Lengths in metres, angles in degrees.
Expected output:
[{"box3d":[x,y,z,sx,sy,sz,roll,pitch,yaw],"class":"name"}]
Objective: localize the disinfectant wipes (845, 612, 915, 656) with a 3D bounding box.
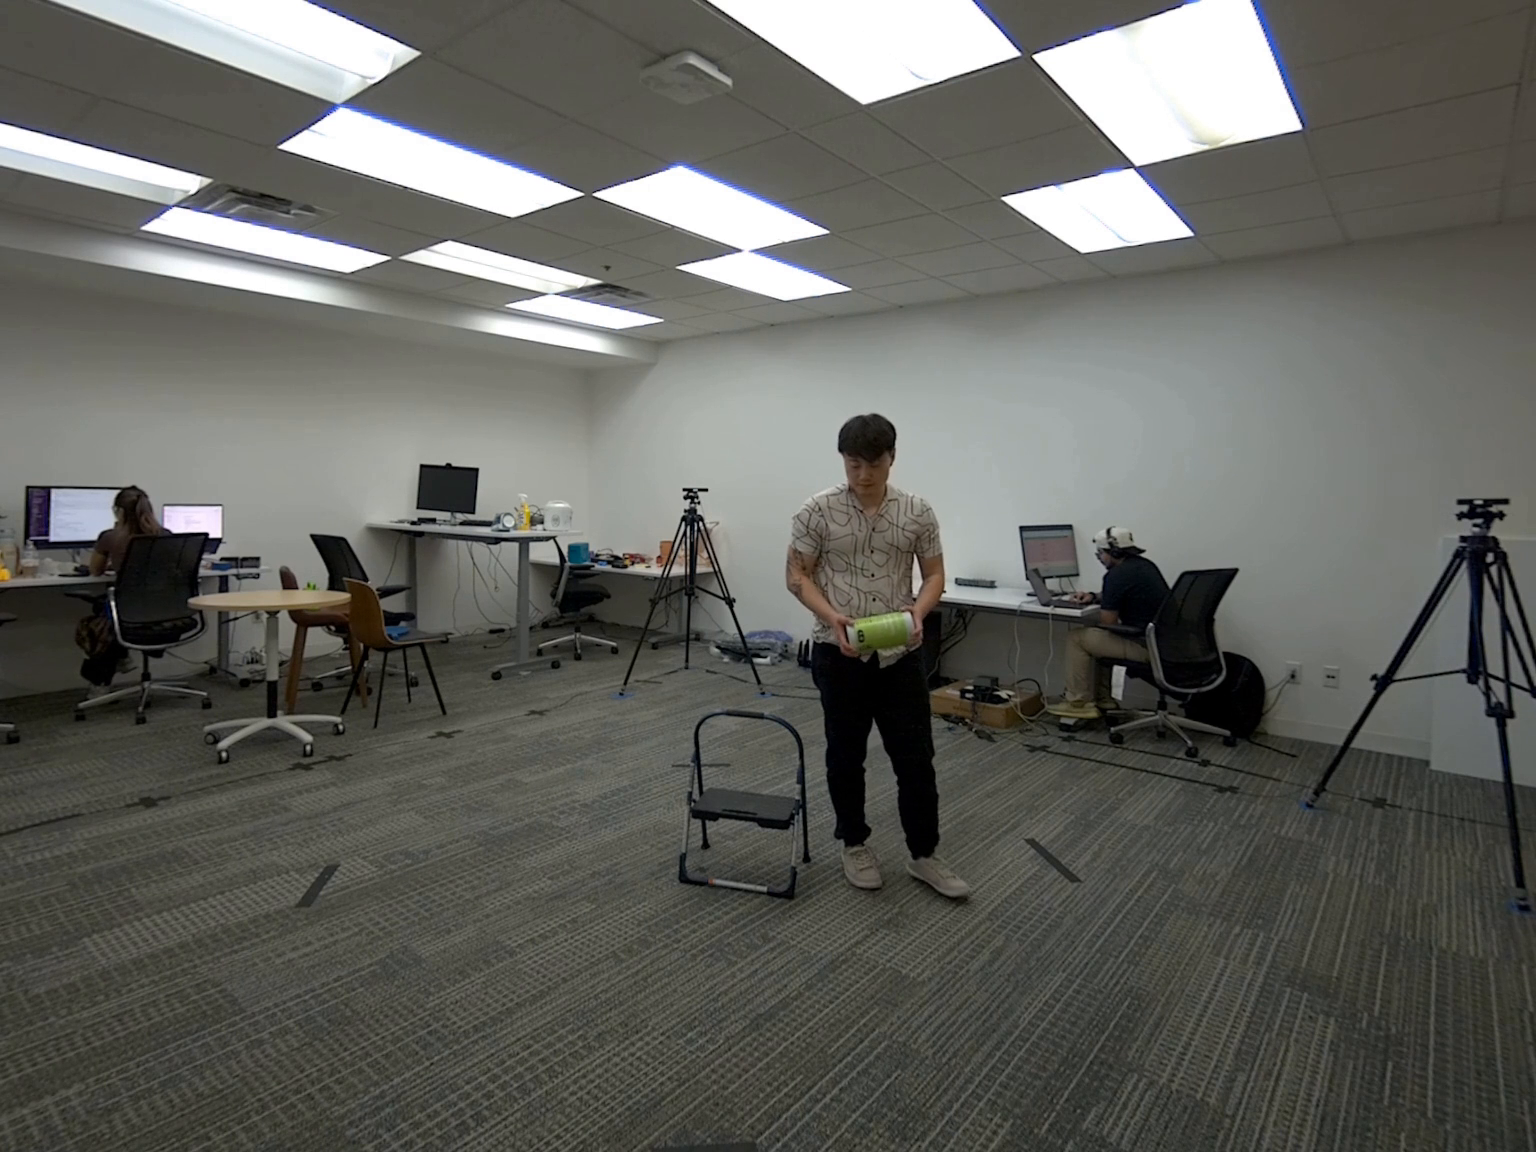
[{"box3d":[0.366,0.180,2.797,0.218,0.117,0.118,-12,4,1],"class":"disinfectant wipes"}]
